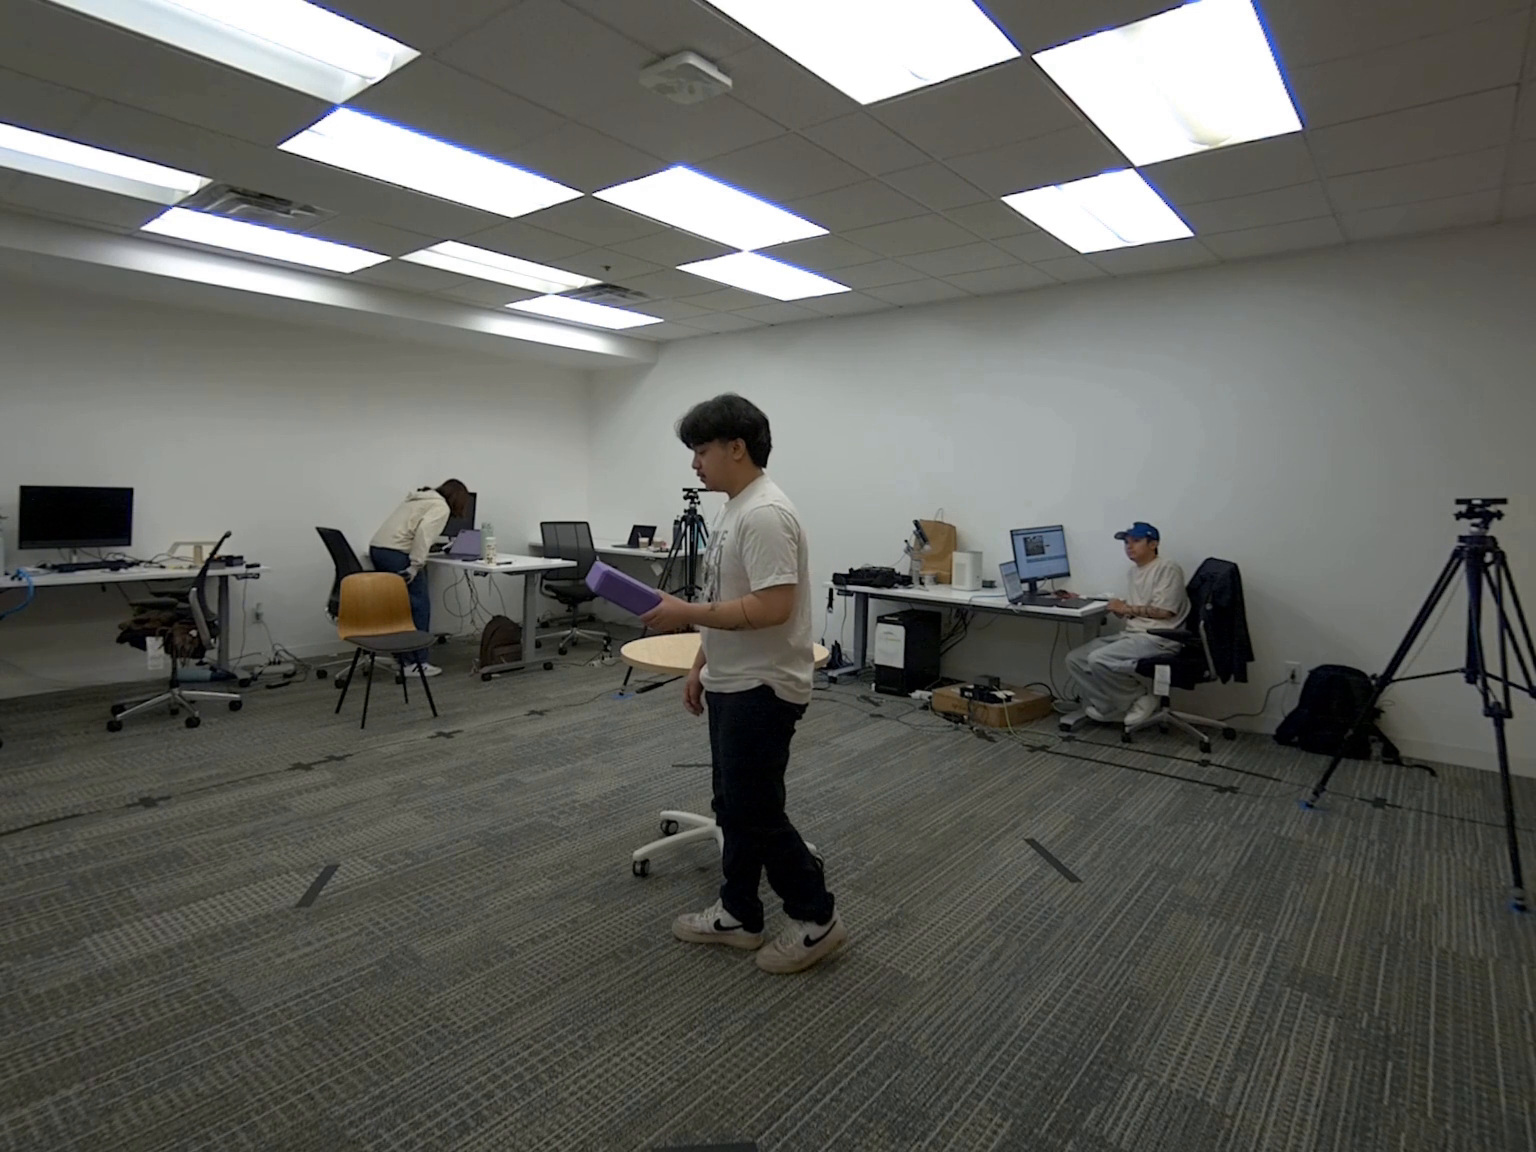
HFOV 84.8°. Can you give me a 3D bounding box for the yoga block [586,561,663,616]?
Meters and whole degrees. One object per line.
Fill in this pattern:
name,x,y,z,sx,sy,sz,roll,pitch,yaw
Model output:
yoga block,-0.408,0.046,2.429,0.224,0.076,0.153,29,-1,-19
